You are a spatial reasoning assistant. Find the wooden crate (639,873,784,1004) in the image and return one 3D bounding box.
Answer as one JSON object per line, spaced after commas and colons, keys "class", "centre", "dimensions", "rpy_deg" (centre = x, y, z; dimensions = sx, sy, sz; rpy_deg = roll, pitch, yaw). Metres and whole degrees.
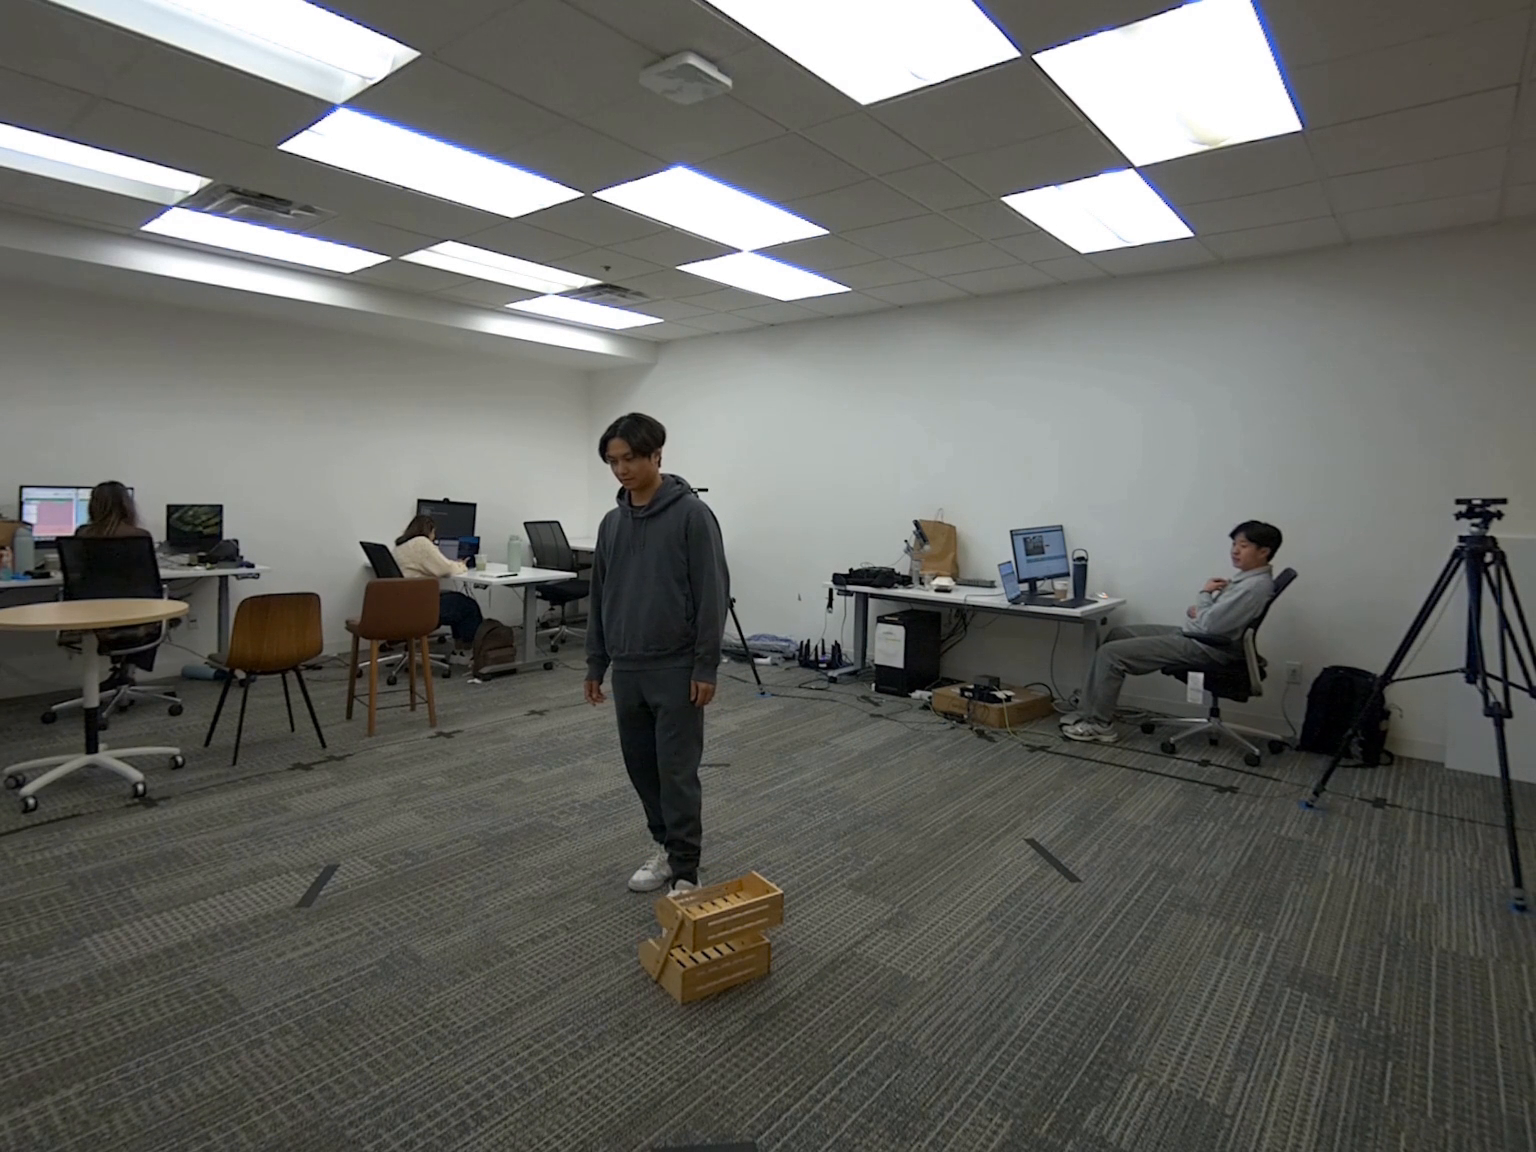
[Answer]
{"class": "wooden crate", "centre": [-0.178, 1.000, 2.442], "dimensions": [0.315, 0.272, 0.312], "rpy_deg": [-2, 6, -35]}
